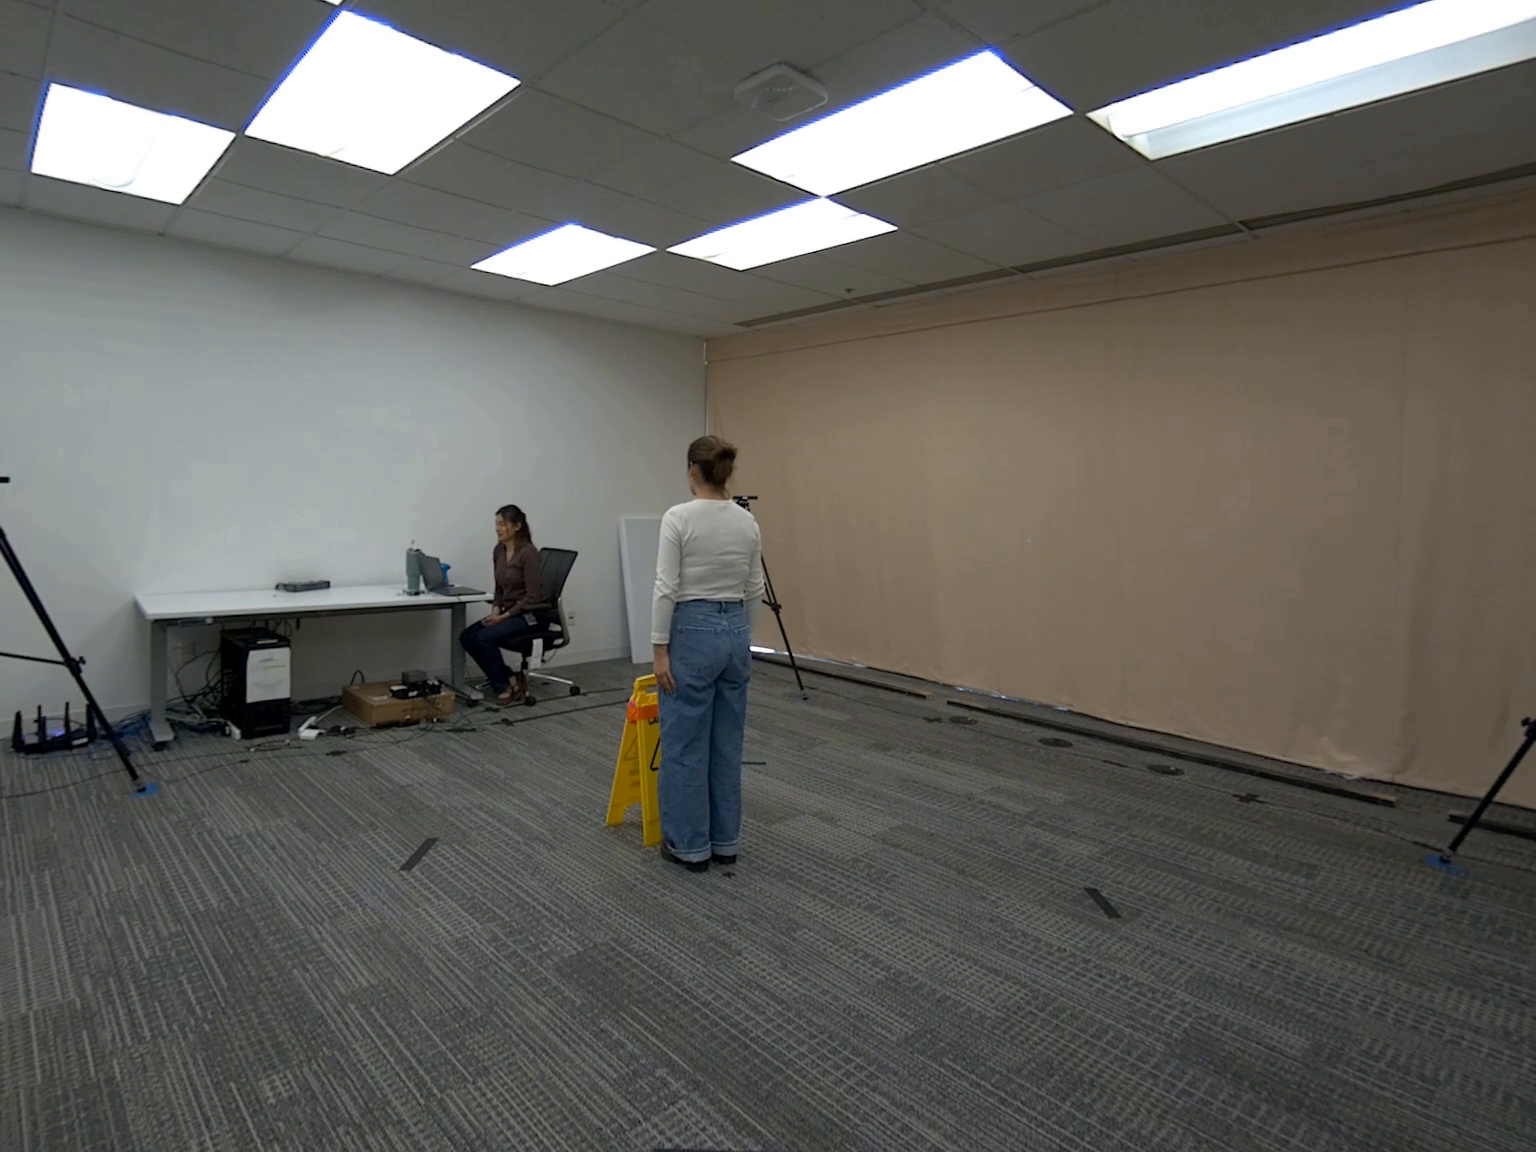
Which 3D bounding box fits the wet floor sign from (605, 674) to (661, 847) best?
[{"bbox_3d":[-0.485,0.734,3.511,0.275,0.645,0.297,0,2,-44],"label":"wet floor sign"}]
